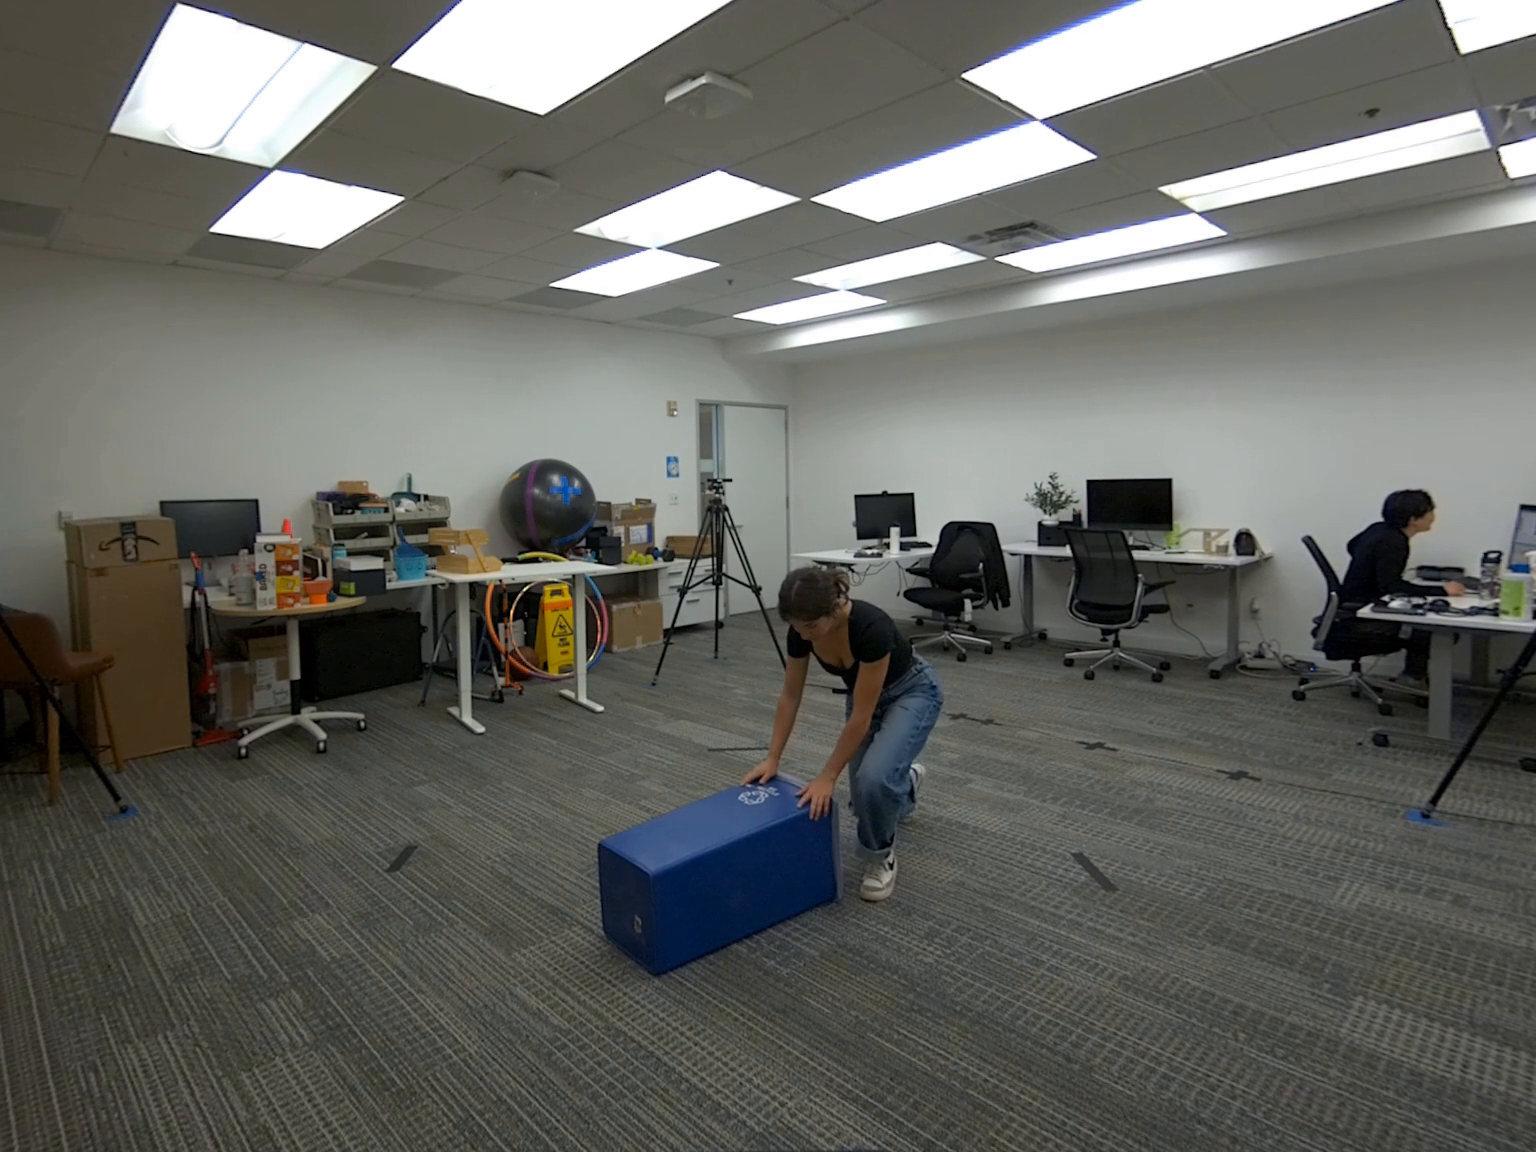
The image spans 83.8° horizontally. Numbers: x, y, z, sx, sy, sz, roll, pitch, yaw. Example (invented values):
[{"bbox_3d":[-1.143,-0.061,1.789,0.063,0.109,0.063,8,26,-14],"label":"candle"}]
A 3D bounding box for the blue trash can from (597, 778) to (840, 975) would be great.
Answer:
[{"bbox_3d":[-0.143,0.928,2.713,0.696,0.375,0.386,-10,10,-39],"label":"blue trash can"}]
